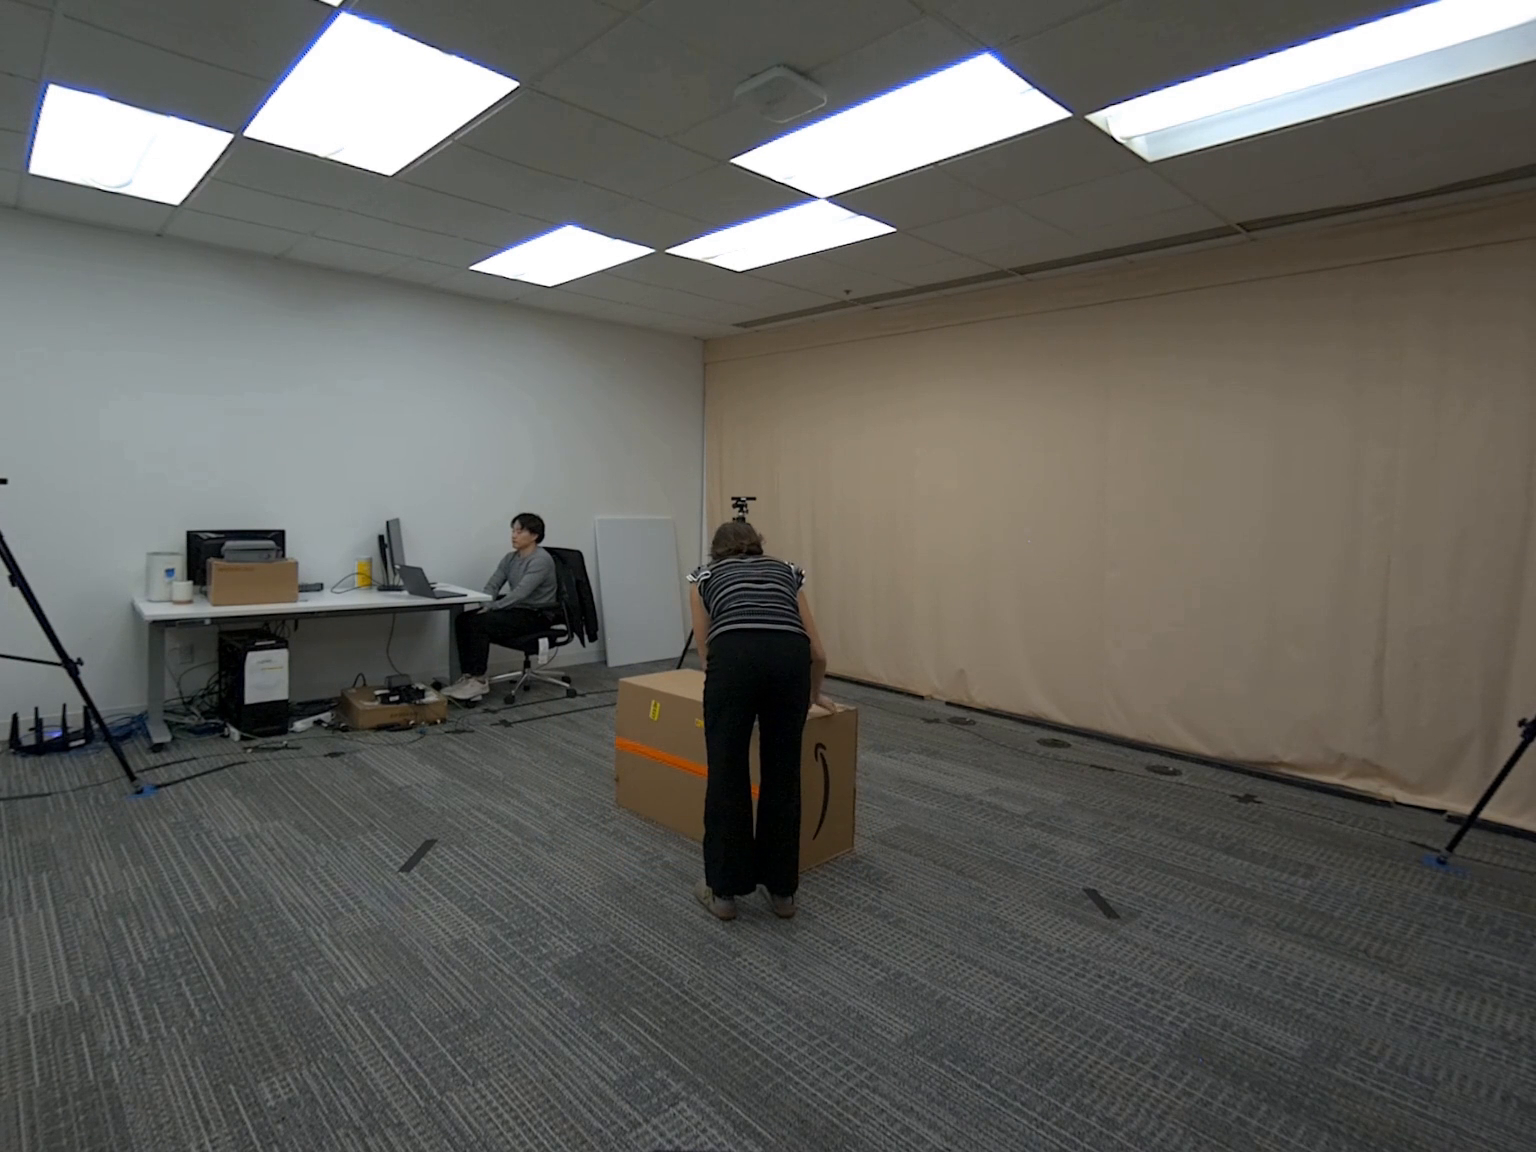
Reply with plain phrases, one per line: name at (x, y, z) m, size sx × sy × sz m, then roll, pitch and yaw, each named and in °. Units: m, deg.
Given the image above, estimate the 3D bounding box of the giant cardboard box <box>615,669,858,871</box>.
giant cardboard box at (-0.174, 0.777, 3.569) m, size 1.052 × 0.576 × 0.416 m, roll 5°, pitch 5°, yaw 44°
